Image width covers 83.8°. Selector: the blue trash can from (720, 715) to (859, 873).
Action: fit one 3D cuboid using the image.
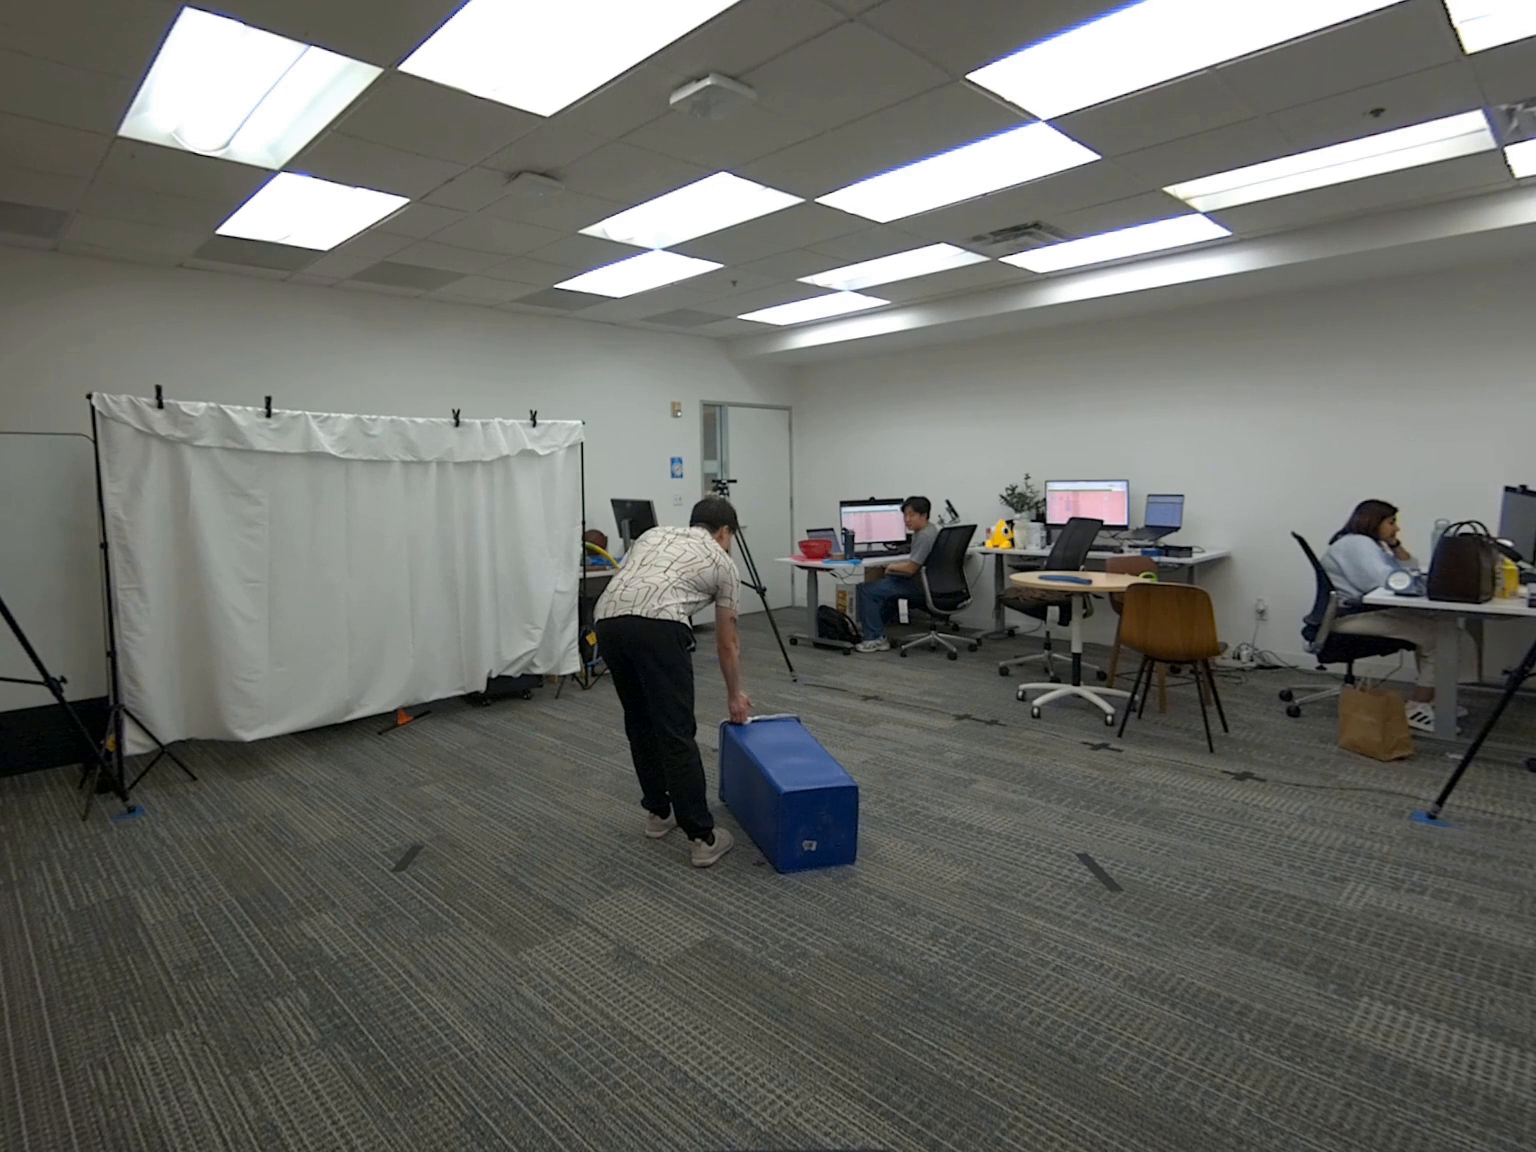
[{"bbox_3d":[0.066,0.846,3.376,0.373,0.371,0.729,-2,9,-16],"label":"blue trash can"}]
